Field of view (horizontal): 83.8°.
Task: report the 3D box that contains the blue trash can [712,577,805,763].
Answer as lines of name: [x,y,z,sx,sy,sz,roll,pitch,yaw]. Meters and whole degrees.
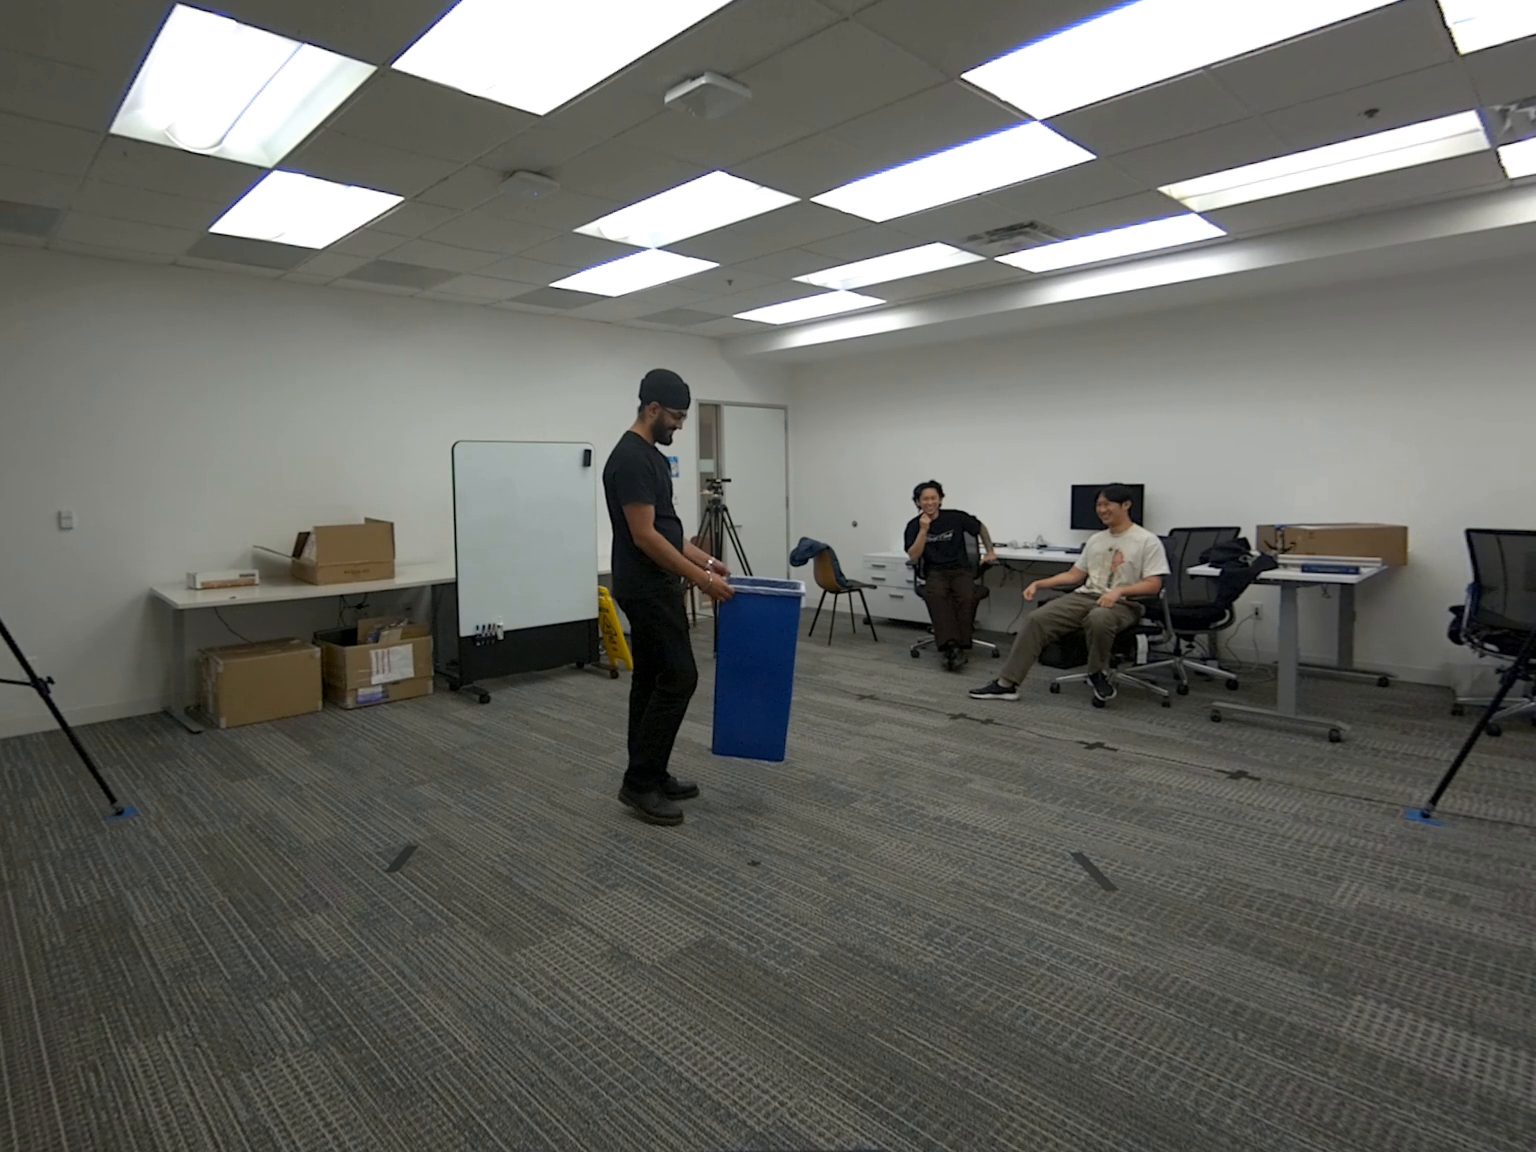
blue trash can: [-0.063,0.385,3.638,0.376,0.711,0.378,5,4,3]
